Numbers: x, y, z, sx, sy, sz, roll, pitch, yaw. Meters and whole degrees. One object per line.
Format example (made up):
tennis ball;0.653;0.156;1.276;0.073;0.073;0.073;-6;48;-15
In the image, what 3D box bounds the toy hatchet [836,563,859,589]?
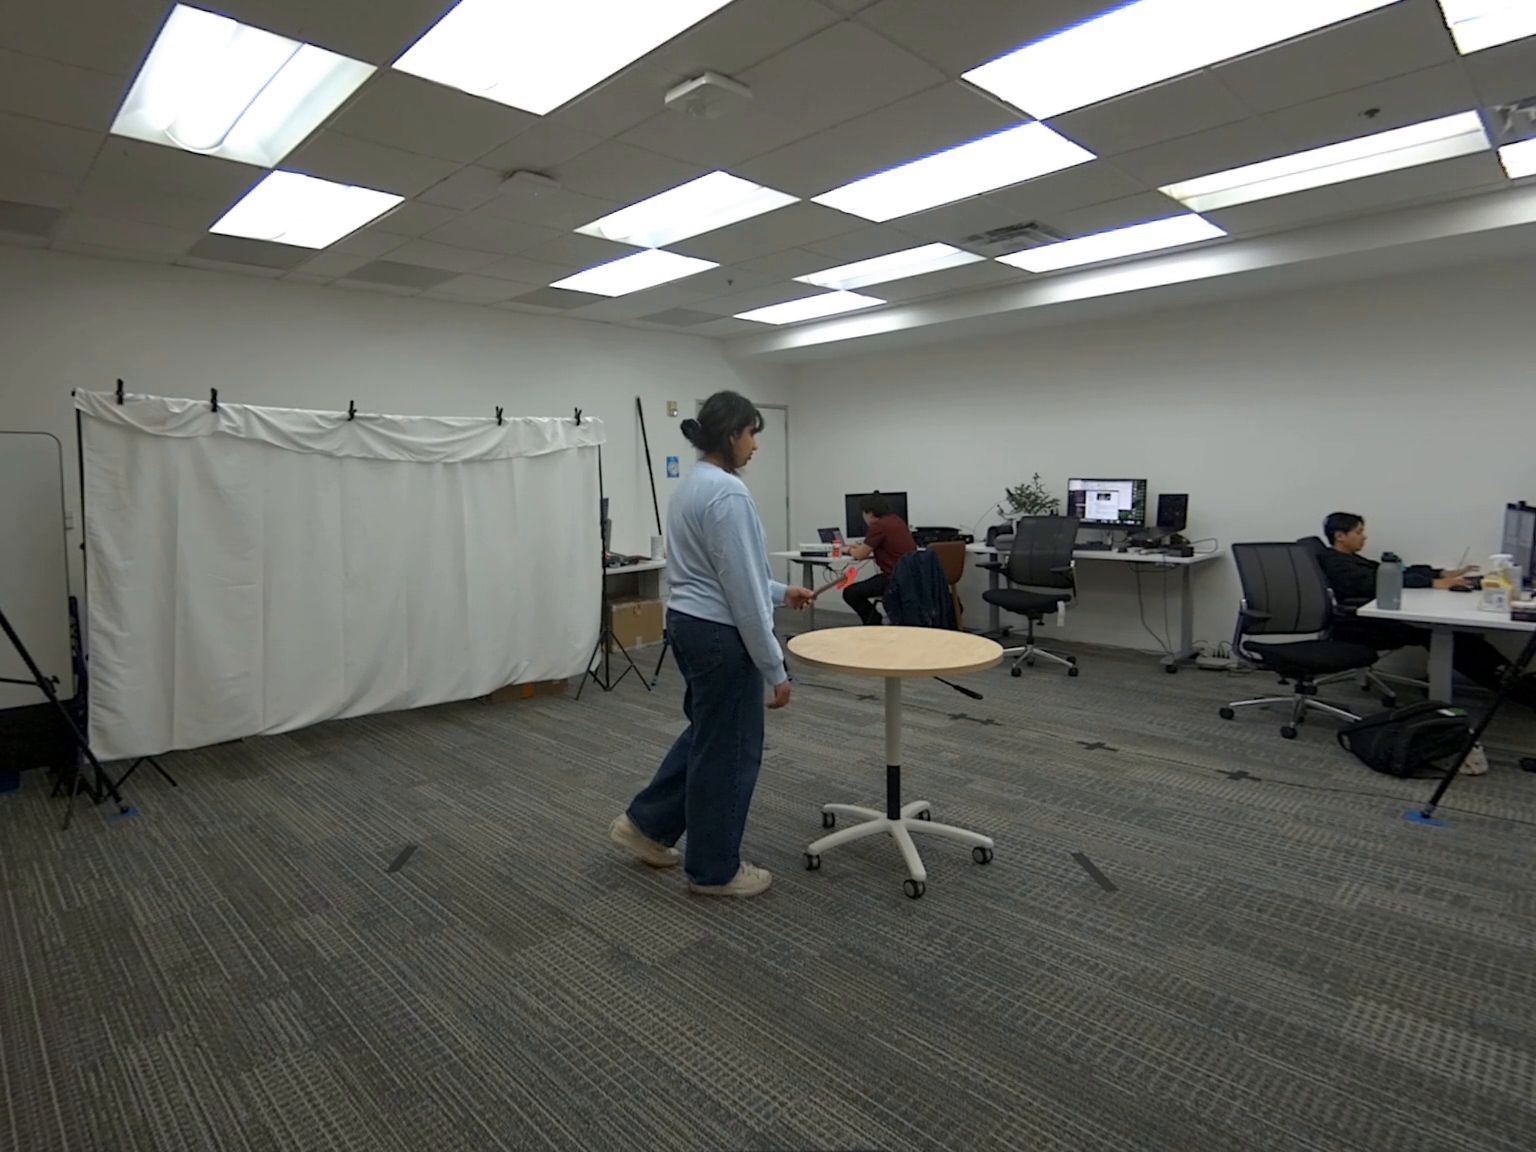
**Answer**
toy hatchet;0.215;0.064;3.152;0.270;0.030;0.127;-35;-25;-1
